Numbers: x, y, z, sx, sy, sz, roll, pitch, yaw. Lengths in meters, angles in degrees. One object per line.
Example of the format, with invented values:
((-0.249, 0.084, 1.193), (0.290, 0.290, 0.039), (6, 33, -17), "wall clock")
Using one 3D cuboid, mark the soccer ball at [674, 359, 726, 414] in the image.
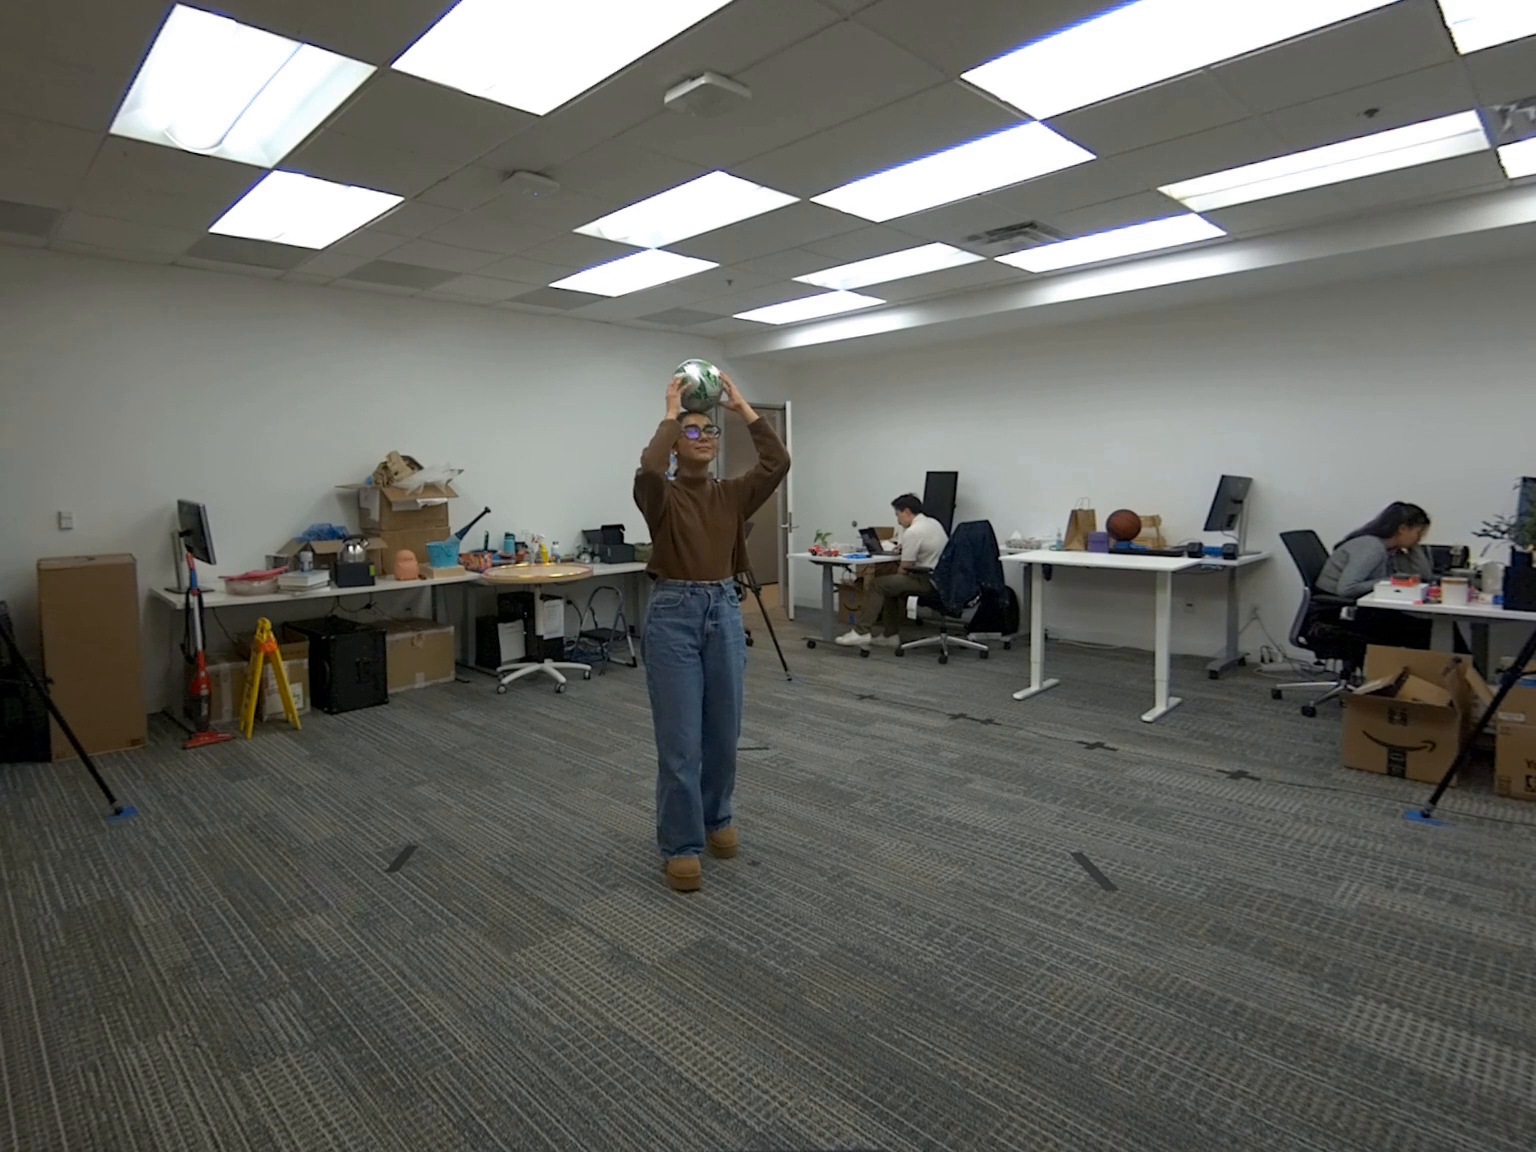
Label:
((-0.255, -0.674, 3.036), (0.187, 0.187, 0.188), (-1, 5, -2), "soccer ball")
